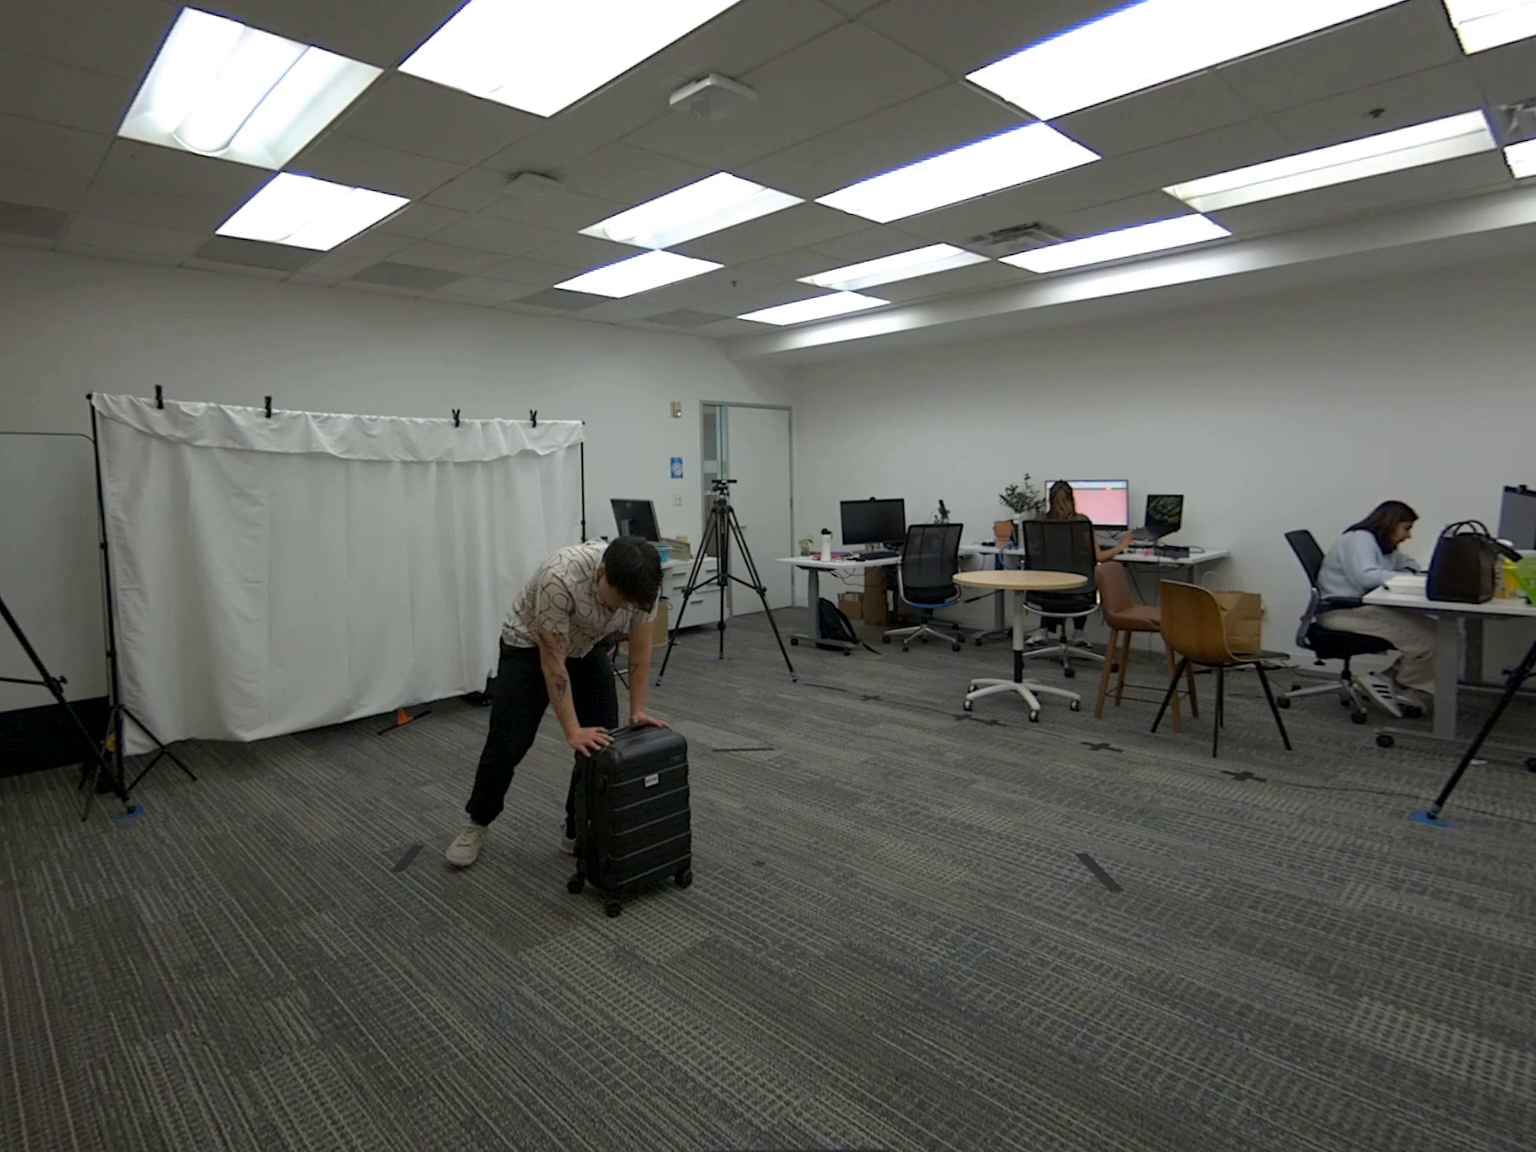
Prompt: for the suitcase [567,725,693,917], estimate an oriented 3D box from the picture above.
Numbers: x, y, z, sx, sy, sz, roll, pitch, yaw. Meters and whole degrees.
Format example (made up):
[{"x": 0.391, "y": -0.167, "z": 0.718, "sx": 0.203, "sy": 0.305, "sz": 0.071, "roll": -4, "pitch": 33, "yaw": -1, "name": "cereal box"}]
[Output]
[{"x": -0.461, "y": 0.801, "z": 2.930, "sx": 0.365, "sy": 0.548, "sz": 0.256, "roll": -3, "pitch": 4, "yaw": -44, "name": "suitcase"}]
